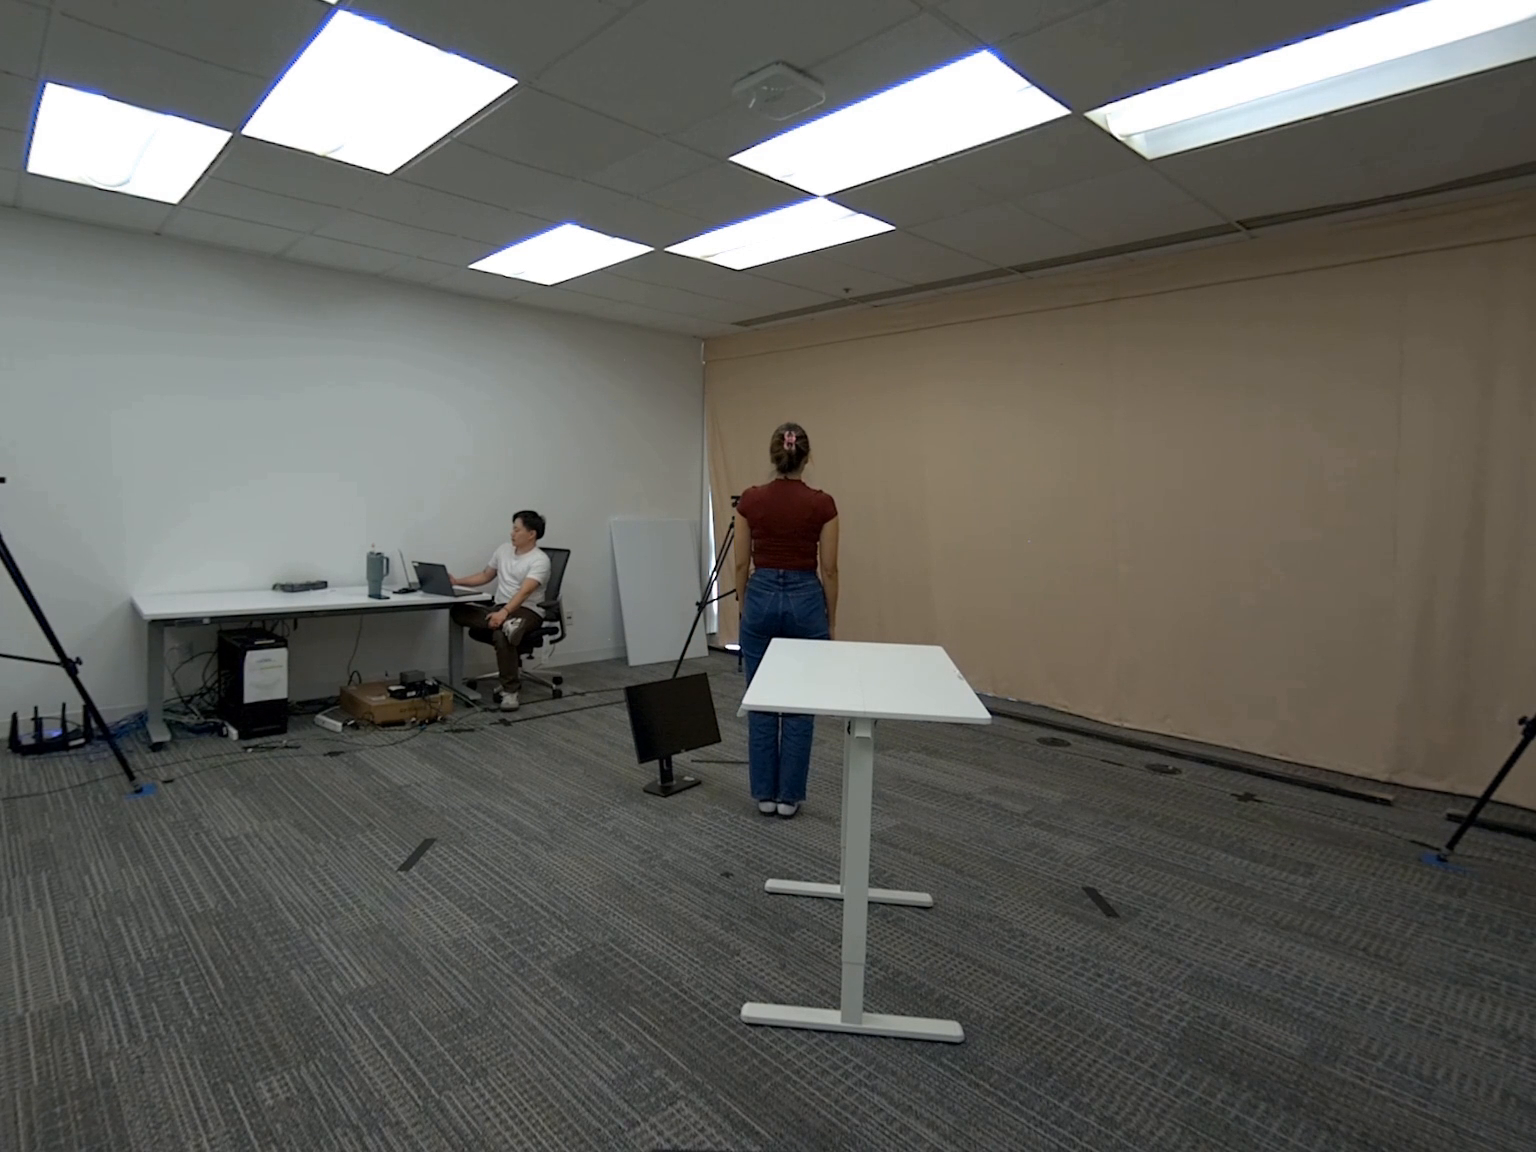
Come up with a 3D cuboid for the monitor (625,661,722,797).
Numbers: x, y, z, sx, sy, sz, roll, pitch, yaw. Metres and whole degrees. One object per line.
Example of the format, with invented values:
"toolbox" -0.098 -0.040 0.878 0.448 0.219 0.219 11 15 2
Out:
"monitor" -0.473 0.754 4.038 0.191 0.522 0.527 -1 1 38
